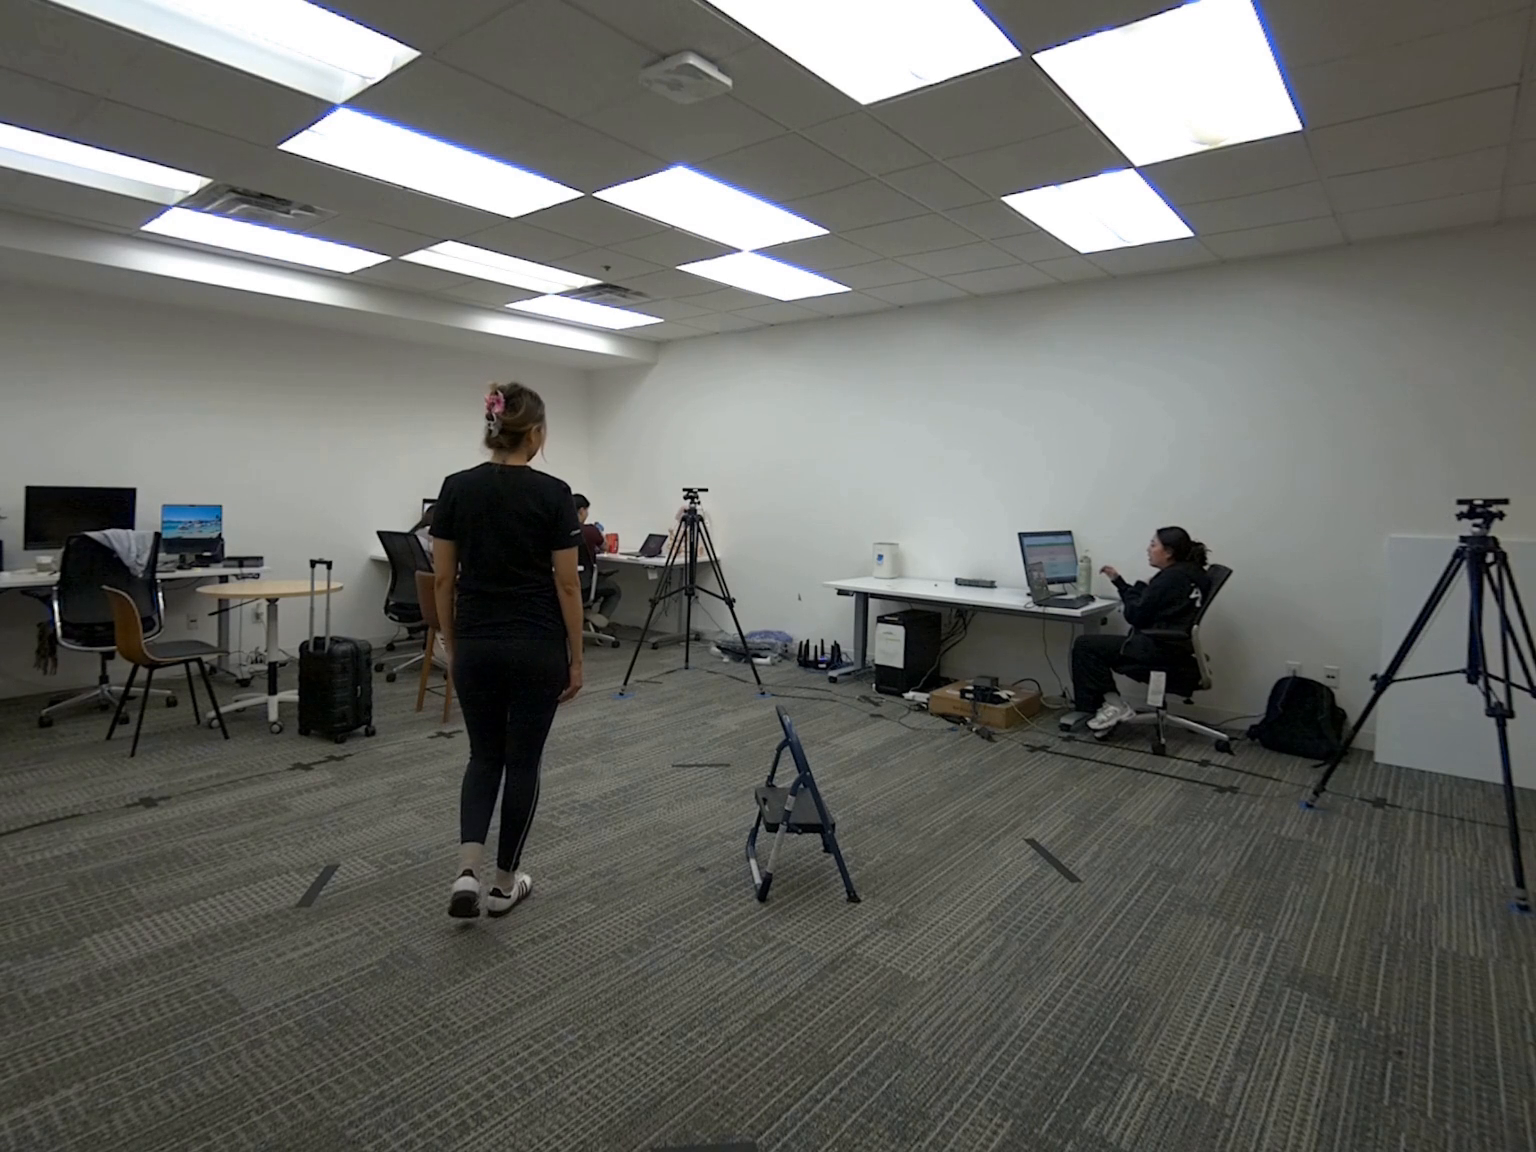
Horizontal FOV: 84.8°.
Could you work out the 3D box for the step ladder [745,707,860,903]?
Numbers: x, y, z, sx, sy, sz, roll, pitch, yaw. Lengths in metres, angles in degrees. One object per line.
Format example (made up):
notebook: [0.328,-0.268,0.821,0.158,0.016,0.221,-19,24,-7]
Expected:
step ladder: [0.108,0.782,3.070,0.347,0.604,0.435,1,3,-8]
